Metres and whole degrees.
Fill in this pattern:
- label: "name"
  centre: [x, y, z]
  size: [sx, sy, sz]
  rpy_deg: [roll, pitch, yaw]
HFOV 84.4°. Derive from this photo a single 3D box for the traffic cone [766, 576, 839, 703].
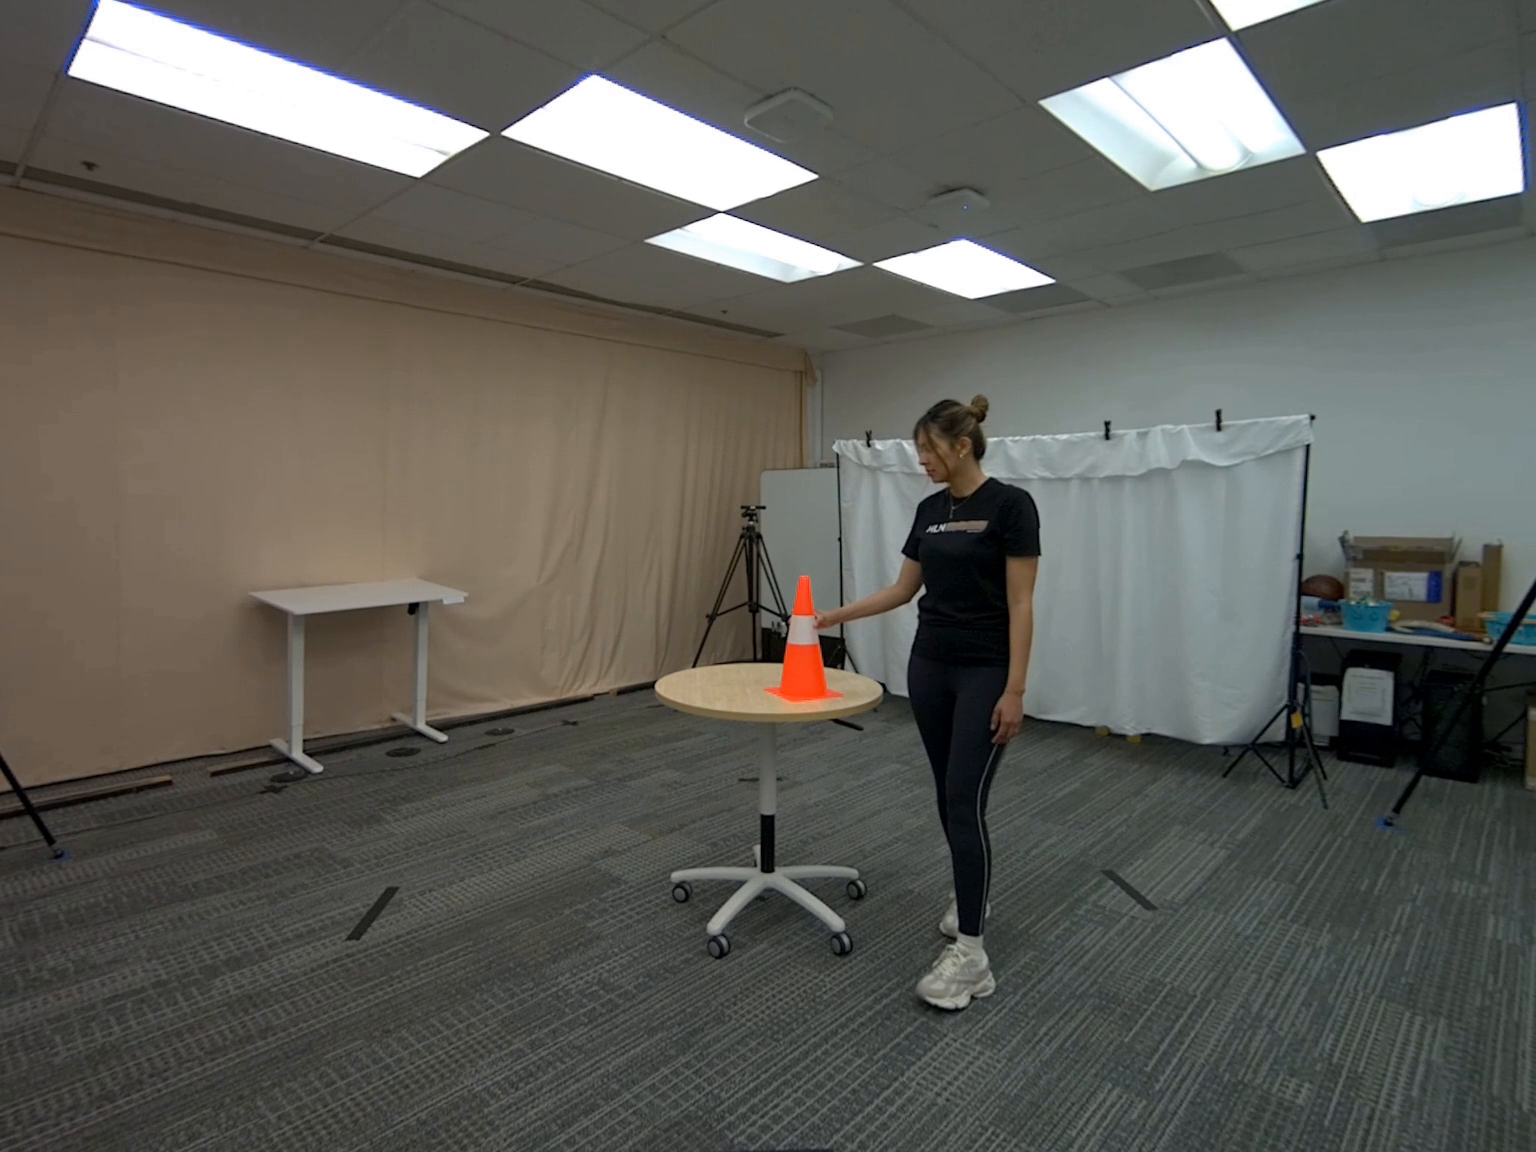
- label: "traffic cone"
  centre: [0.122, 0.198, 2.731]
  size: [0.210, 0.383, 0.199]
  rpy_deg: [4, 4, 35]
